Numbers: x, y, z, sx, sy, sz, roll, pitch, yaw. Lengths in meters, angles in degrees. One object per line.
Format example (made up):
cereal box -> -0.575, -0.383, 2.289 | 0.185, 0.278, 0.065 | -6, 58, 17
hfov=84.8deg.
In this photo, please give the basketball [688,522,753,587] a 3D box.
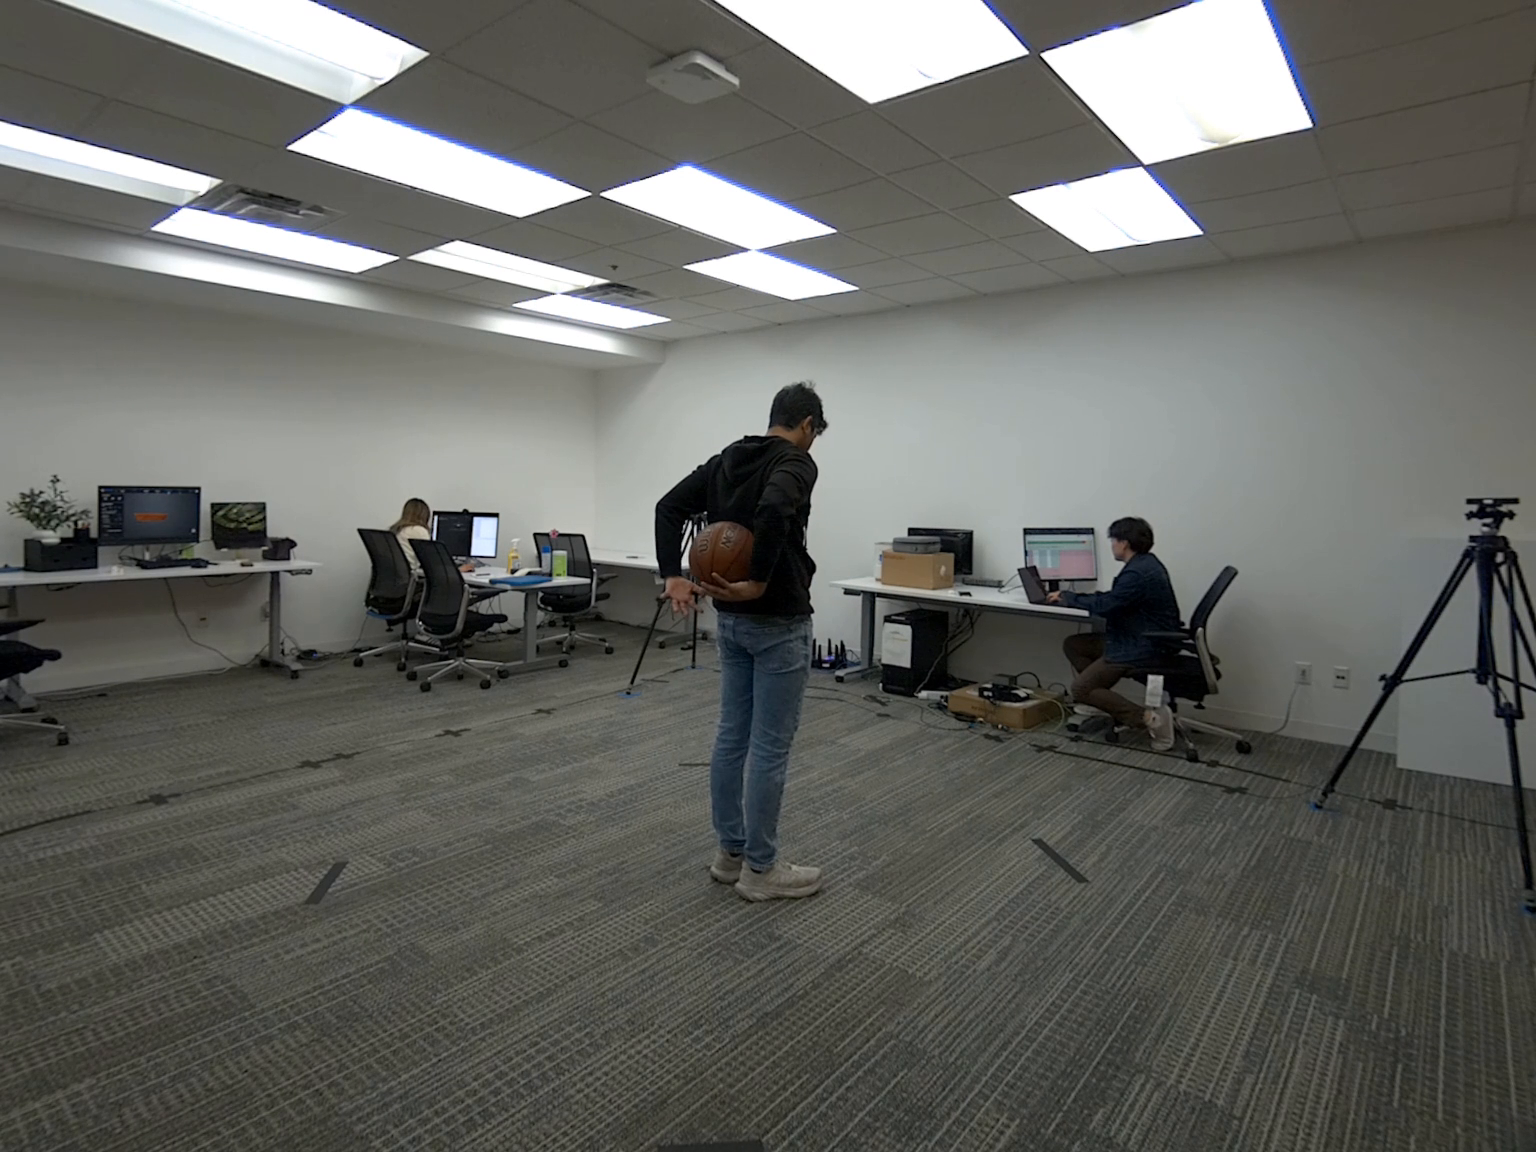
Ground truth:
basketball -> -0.141, -0.061, 2.769 | 0.235, 0.235, 0.237 | 1, 4, -2
